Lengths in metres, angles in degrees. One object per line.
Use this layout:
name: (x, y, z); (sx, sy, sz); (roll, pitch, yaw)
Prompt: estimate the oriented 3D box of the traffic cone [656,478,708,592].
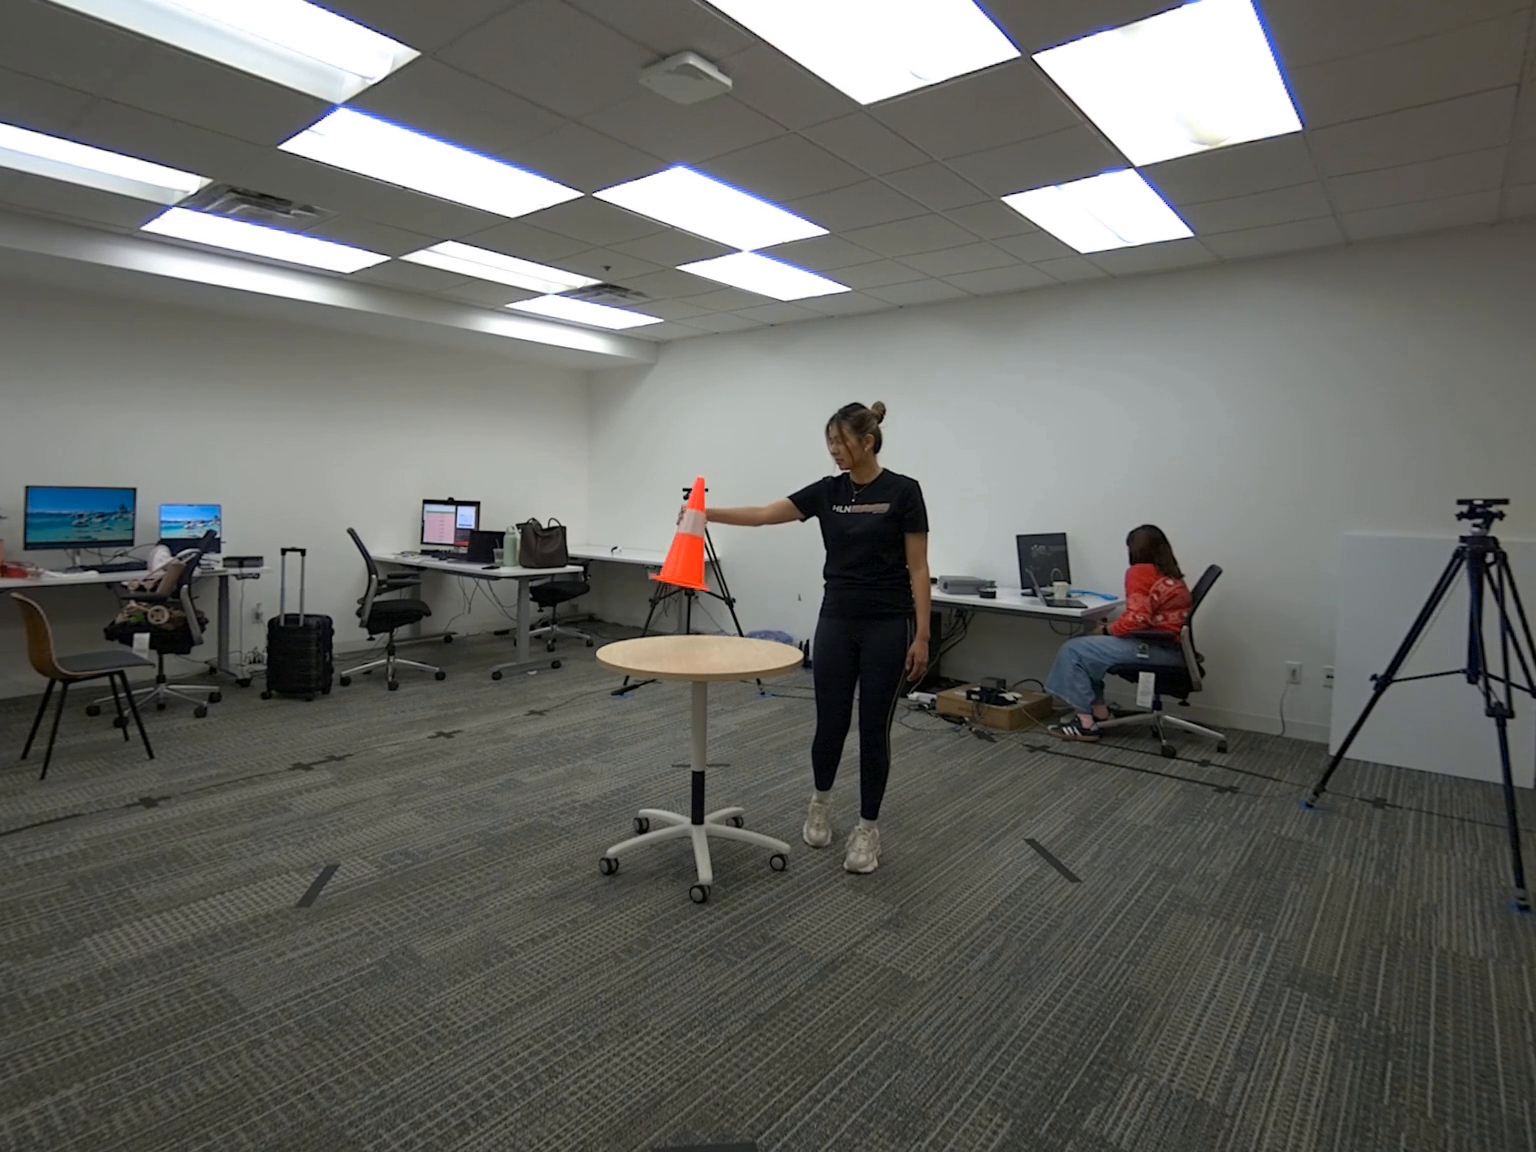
traffic cone: (-0.264, -0.161, 2.983); (0.201, 0.386, 0.206); (12, -7, -18)
